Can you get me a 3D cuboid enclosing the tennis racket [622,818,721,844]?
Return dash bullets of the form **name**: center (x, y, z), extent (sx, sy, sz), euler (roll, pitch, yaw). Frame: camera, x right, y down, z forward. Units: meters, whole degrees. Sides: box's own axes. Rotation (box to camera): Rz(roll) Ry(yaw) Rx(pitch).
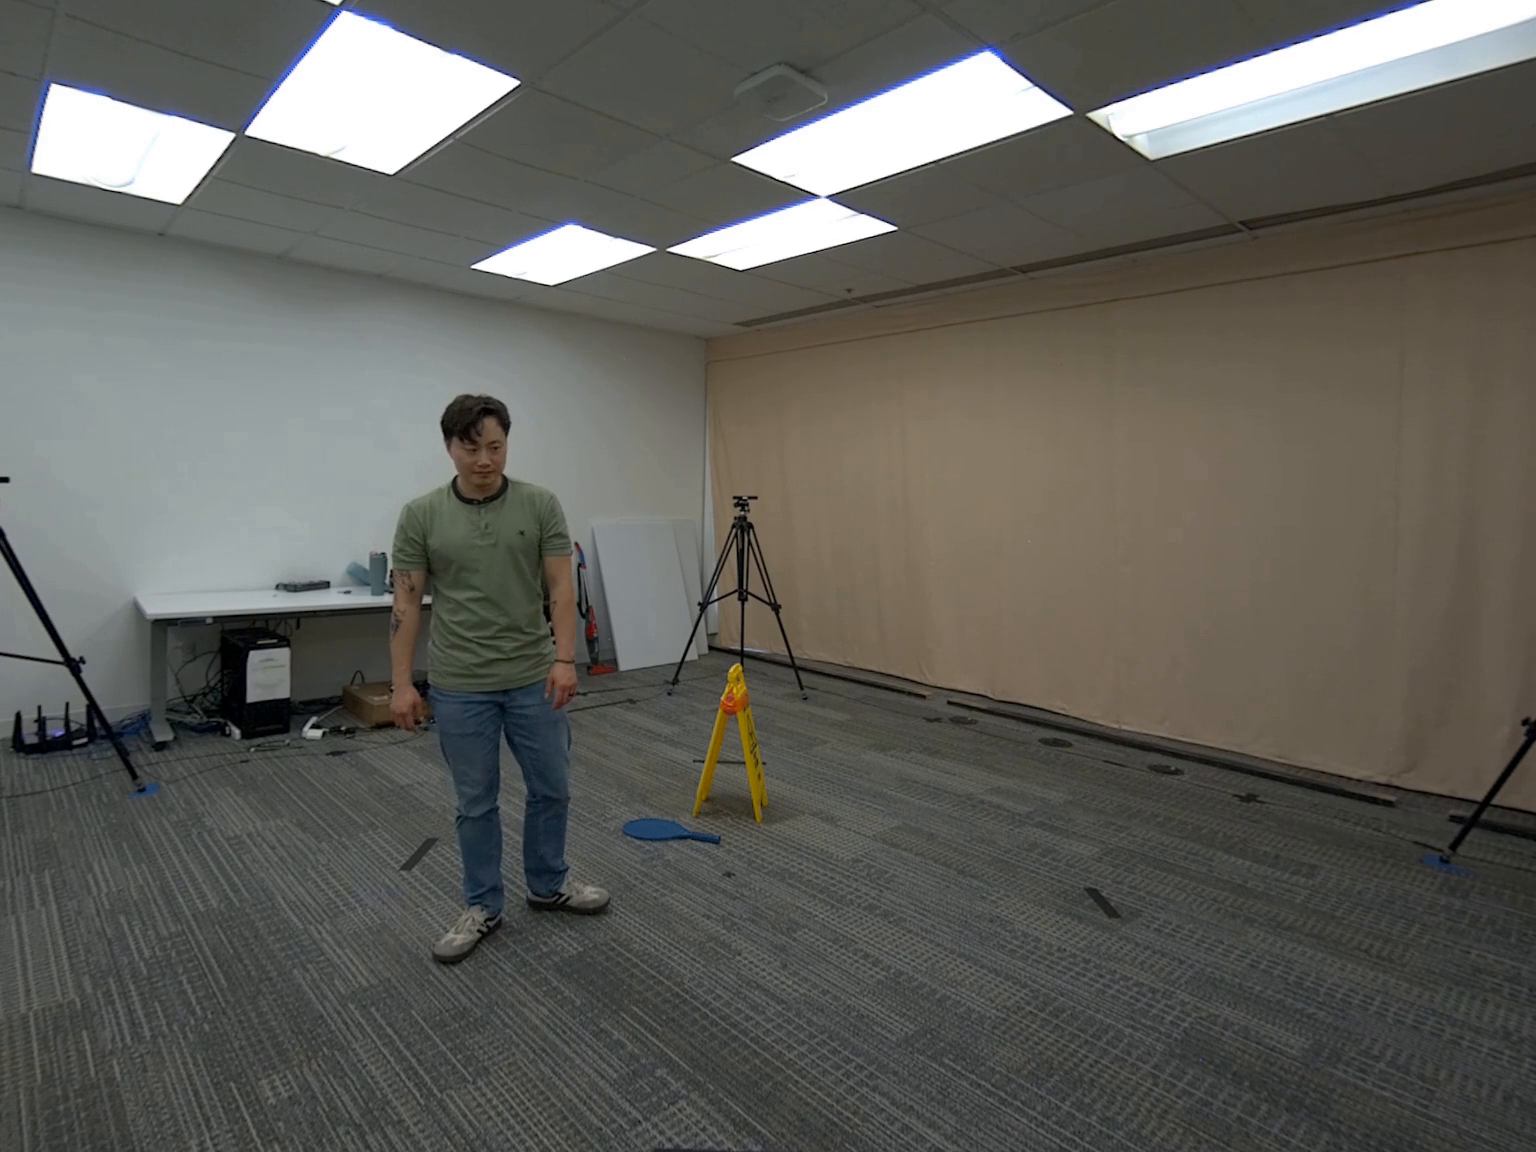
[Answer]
- **tennis racket**: center (-0.406, 1.053, 3.465), extent (0.440, 0.031, 0.211), euler (2, 5, 21)
